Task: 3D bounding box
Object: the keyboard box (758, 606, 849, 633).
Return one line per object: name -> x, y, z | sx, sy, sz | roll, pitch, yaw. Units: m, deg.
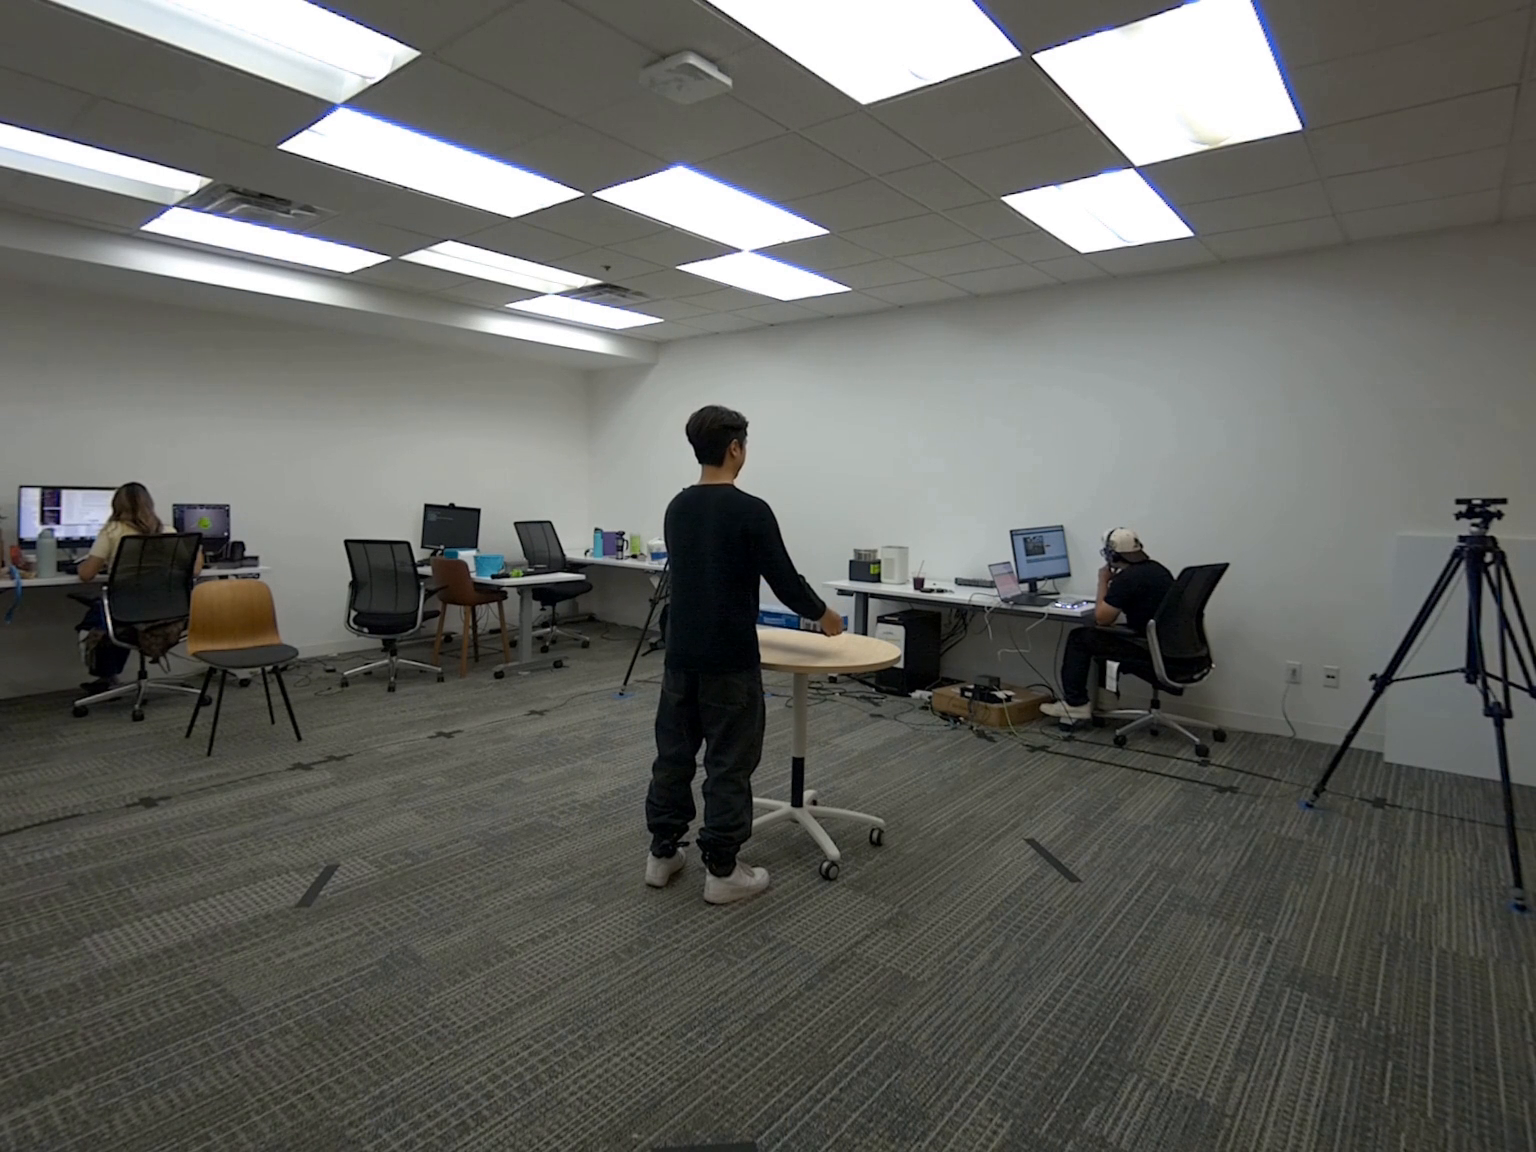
keyboard box -> 0.066, 0.159, 3.277 | 0.451, 0.059, 0.170 | 7, 5, 37
